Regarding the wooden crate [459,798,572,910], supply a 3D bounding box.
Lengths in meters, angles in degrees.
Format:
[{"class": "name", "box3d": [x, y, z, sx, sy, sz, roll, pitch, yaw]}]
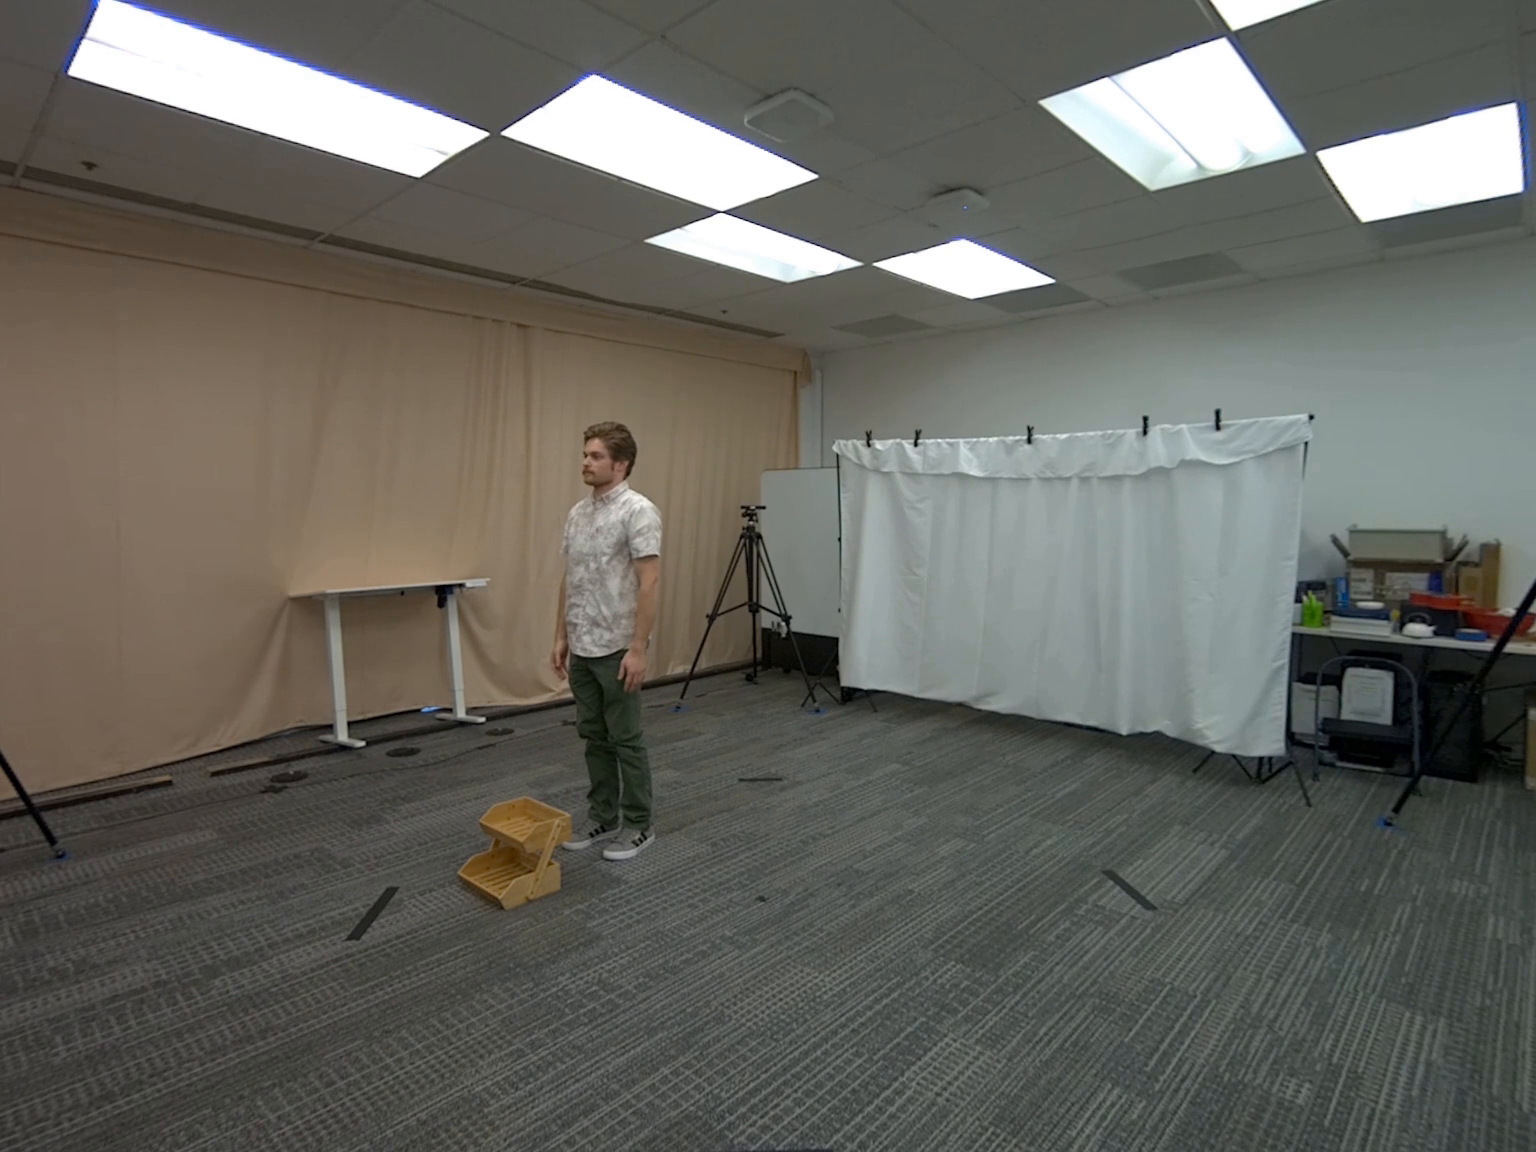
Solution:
[{"class": "wooden crate", "box3d": [-0.941, 1.011, 3.107, 0.335, 0.273, 0.292, 3, 4, 42]}]
